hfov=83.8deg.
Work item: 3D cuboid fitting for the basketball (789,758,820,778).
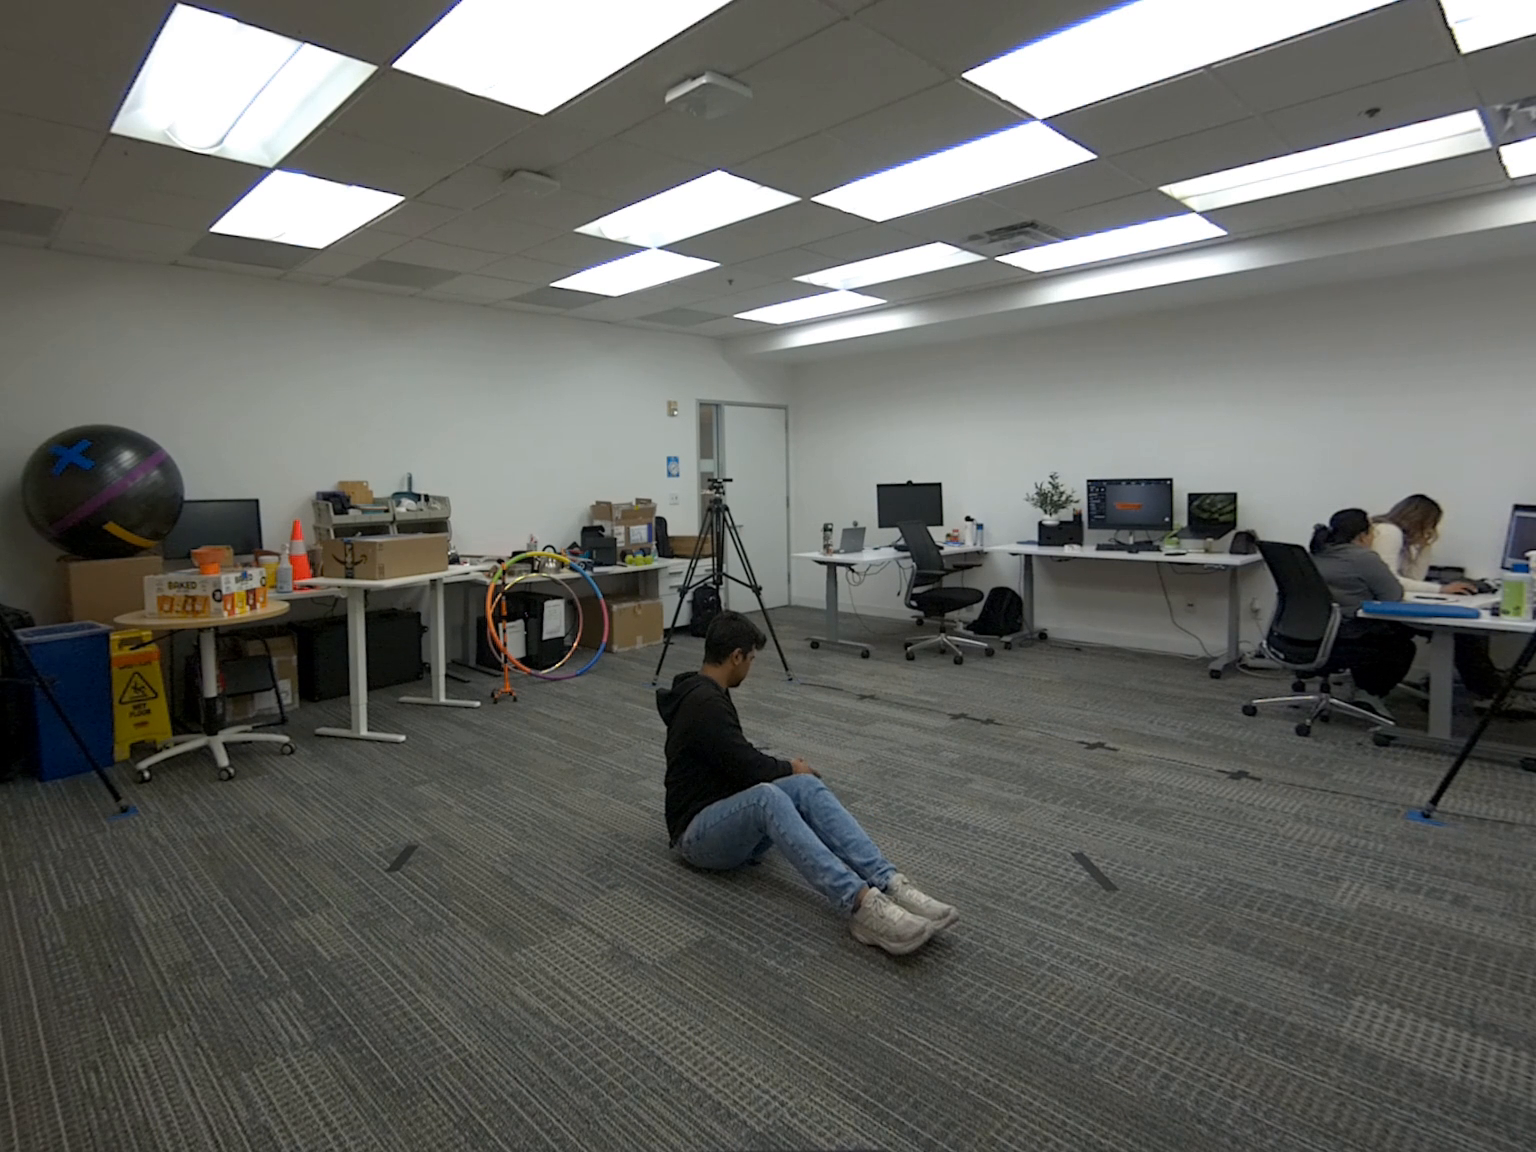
[{"bbox_3d":[0.089,0.881,3.478,0.236,0.235,0.237,-1,5,-2],"label":"basketball"}]
